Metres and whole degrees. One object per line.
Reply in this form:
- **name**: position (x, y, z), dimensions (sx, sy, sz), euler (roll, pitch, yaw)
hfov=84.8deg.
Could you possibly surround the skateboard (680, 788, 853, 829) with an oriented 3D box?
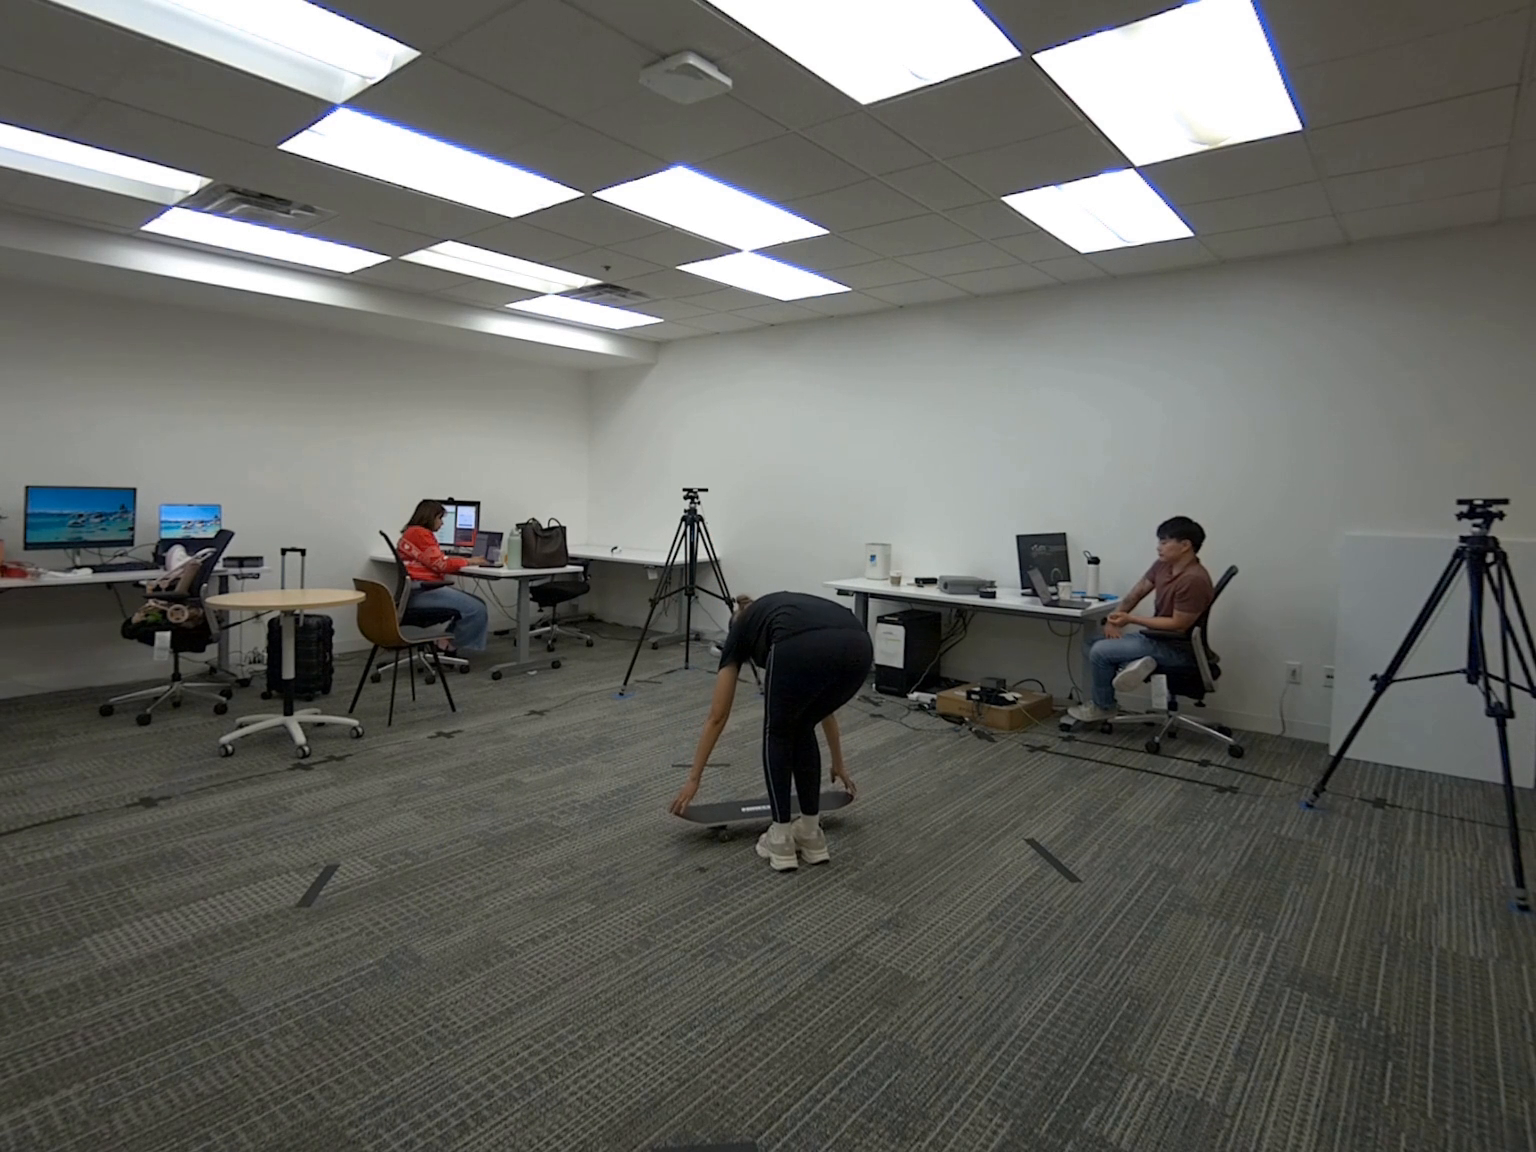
- **skateboard**: position (-0.034, 0.972, 3.486), dimensions (0.771, 0.110, 0.198), euler (0, 7, -17)
